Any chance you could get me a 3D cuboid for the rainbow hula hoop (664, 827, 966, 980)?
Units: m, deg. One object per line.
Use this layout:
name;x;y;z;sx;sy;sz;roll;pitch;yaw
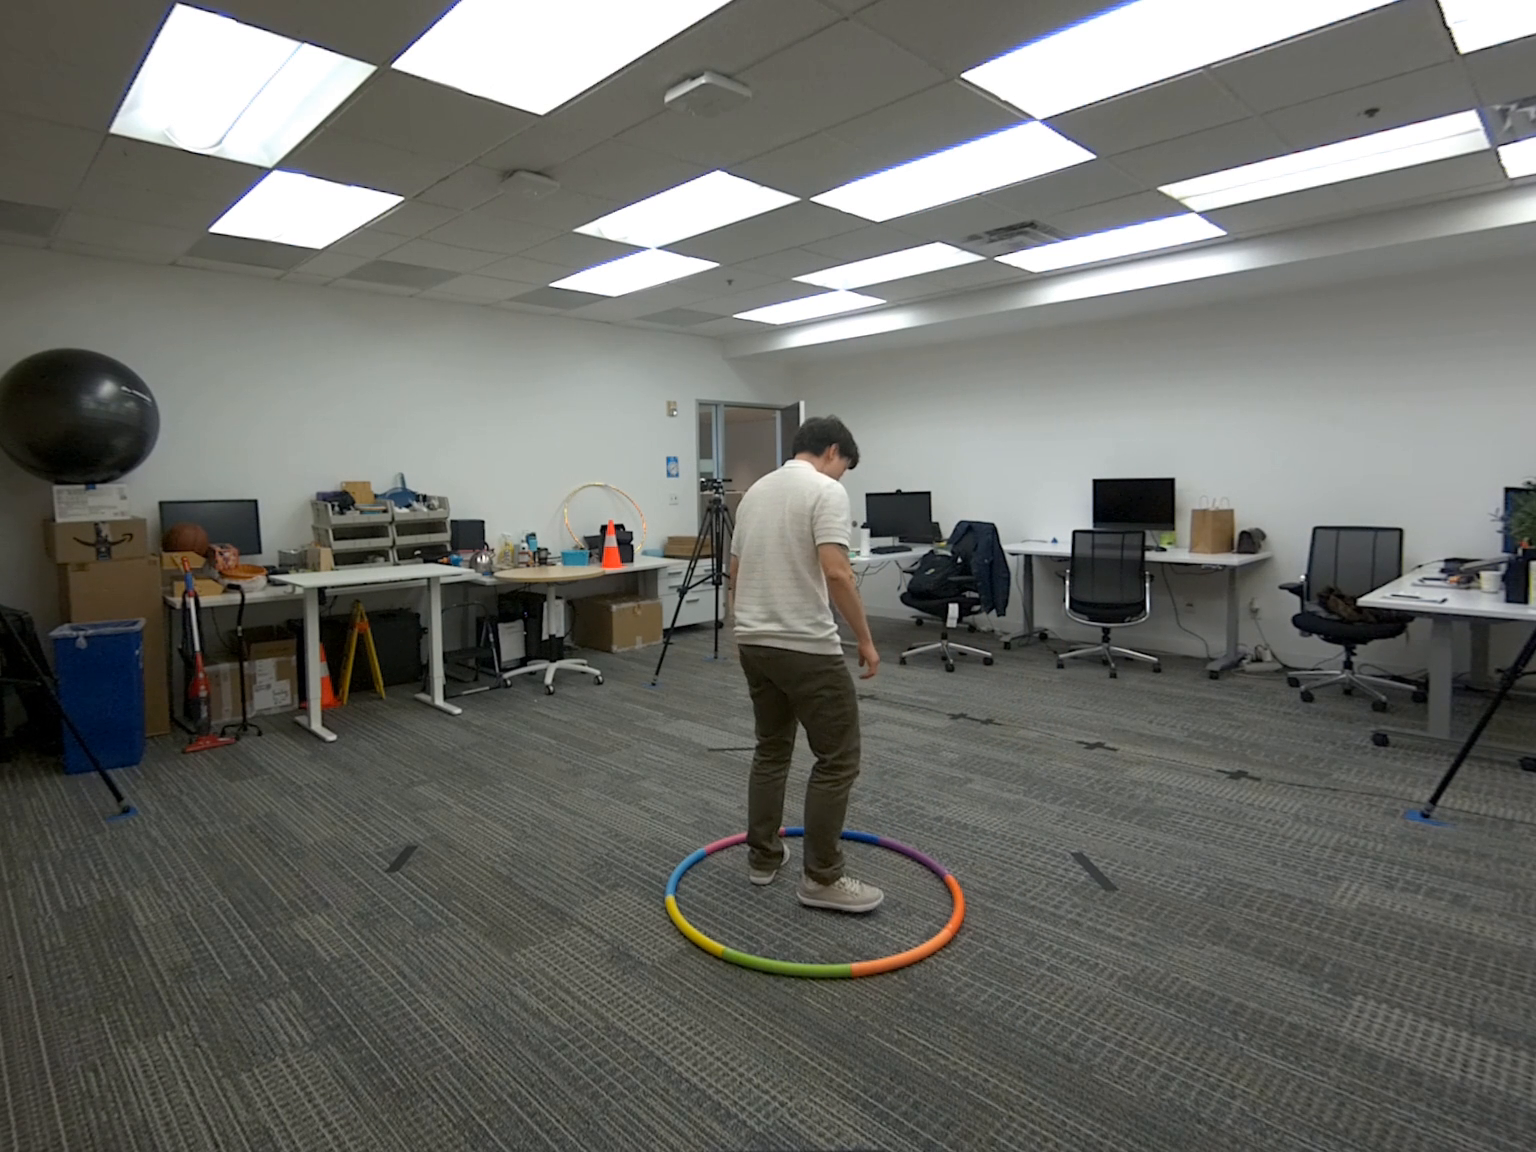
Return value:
rainbow hula hoop;0.150;1.040;2.866;0.978;0.035;0.984;-1;7;-2
